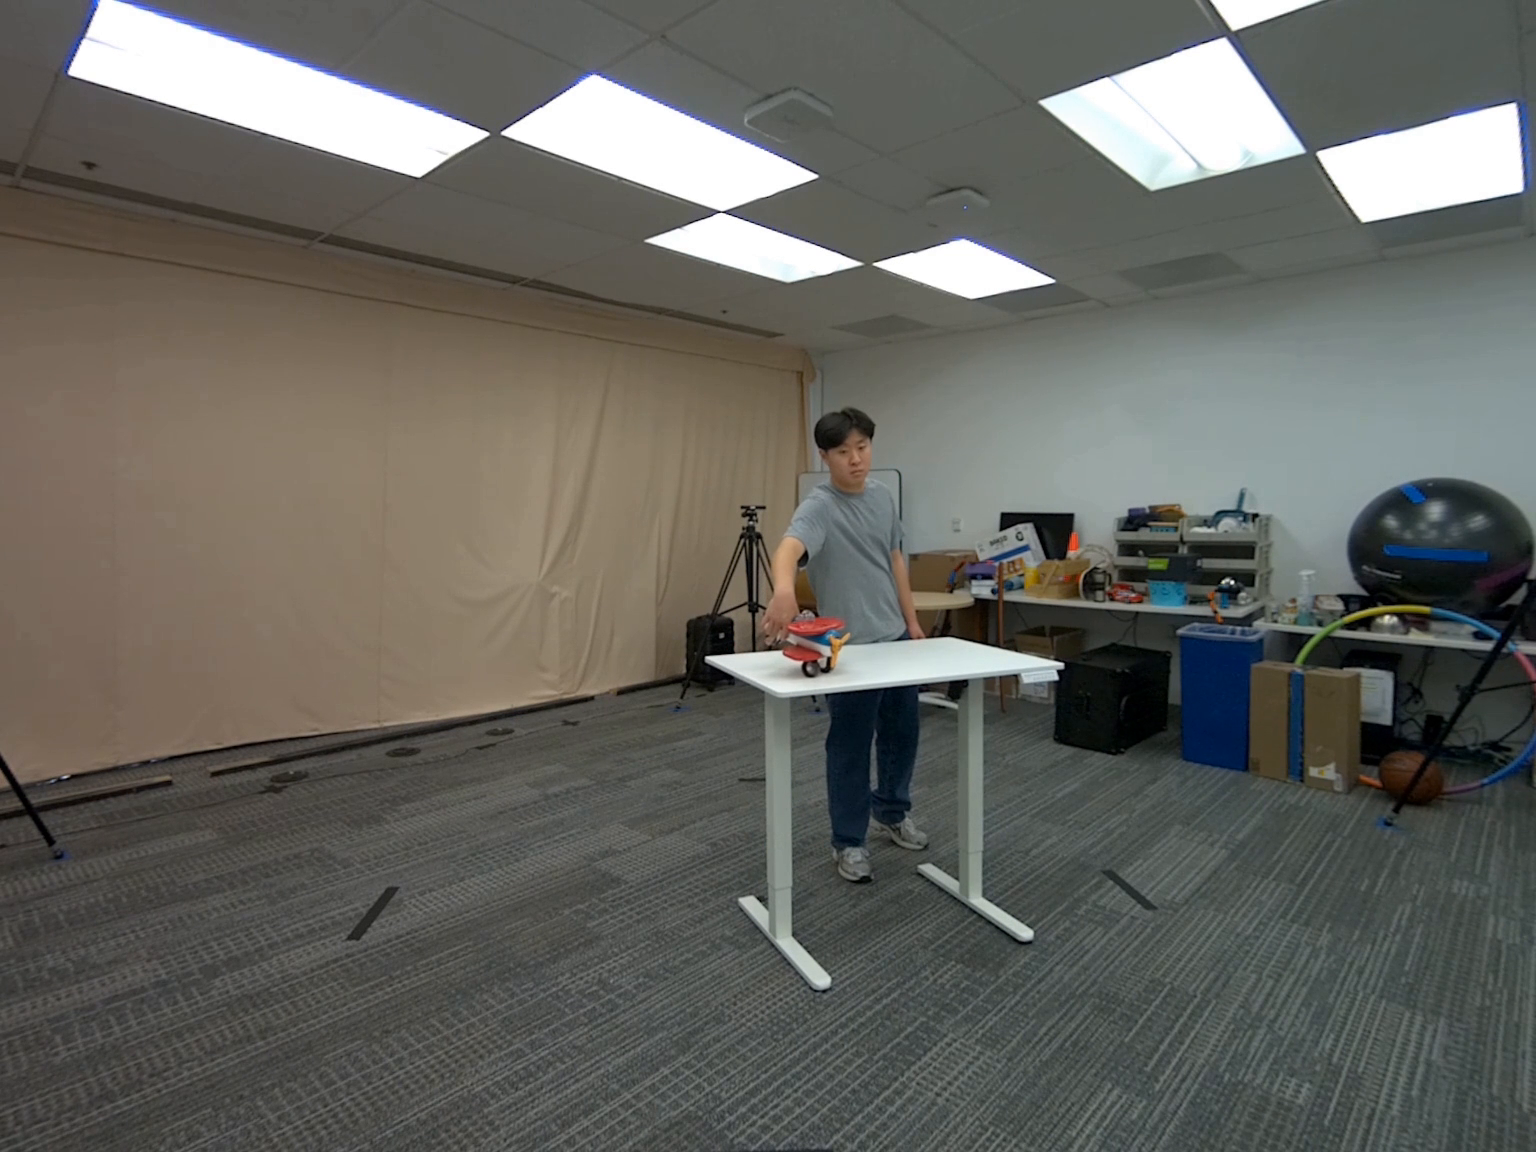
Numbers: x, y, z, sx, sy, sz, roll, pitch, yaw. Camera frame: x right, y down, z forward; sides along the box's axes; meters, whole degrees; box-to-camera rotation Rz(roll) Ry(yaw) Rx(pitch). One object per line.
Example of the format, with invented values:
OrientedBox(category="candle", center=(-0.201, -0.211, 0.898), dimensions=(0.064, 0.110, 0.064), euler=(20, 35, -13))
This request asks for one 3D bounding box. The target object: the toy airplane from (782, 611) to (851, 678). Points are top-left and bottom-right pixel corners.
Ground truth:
OrientedBox(category="toy airplane", center=(0.110, 0.193, 2.559), dimensions=(0.261, 0.156, 0.250), euler=(22, 18, 5))
